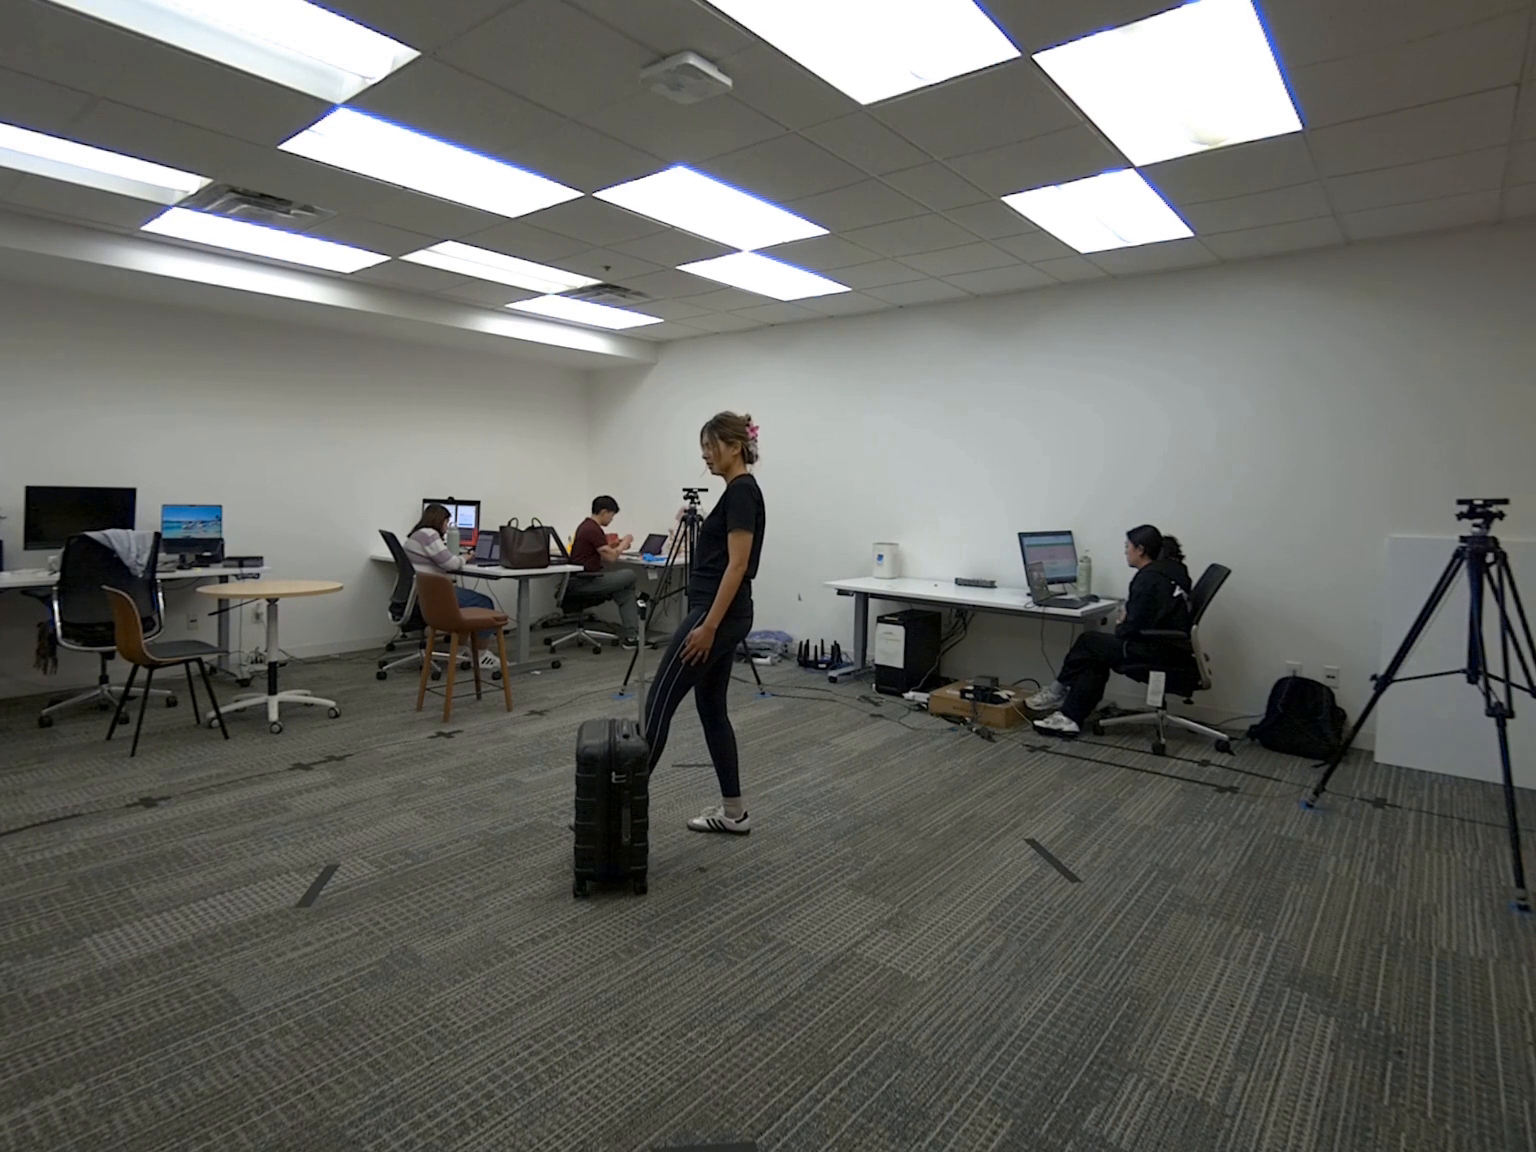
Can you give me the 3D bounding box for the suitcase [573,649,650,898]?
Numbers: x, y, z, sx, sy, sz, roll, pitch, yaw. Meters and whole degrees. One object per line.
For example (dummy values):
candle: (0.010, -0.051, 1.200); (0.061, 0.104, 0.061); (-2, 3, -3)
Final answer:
suitcase: (-0.565, 0.596, 3.000); (0.254, 0.976, 0.389); (-1, 3, -10)
